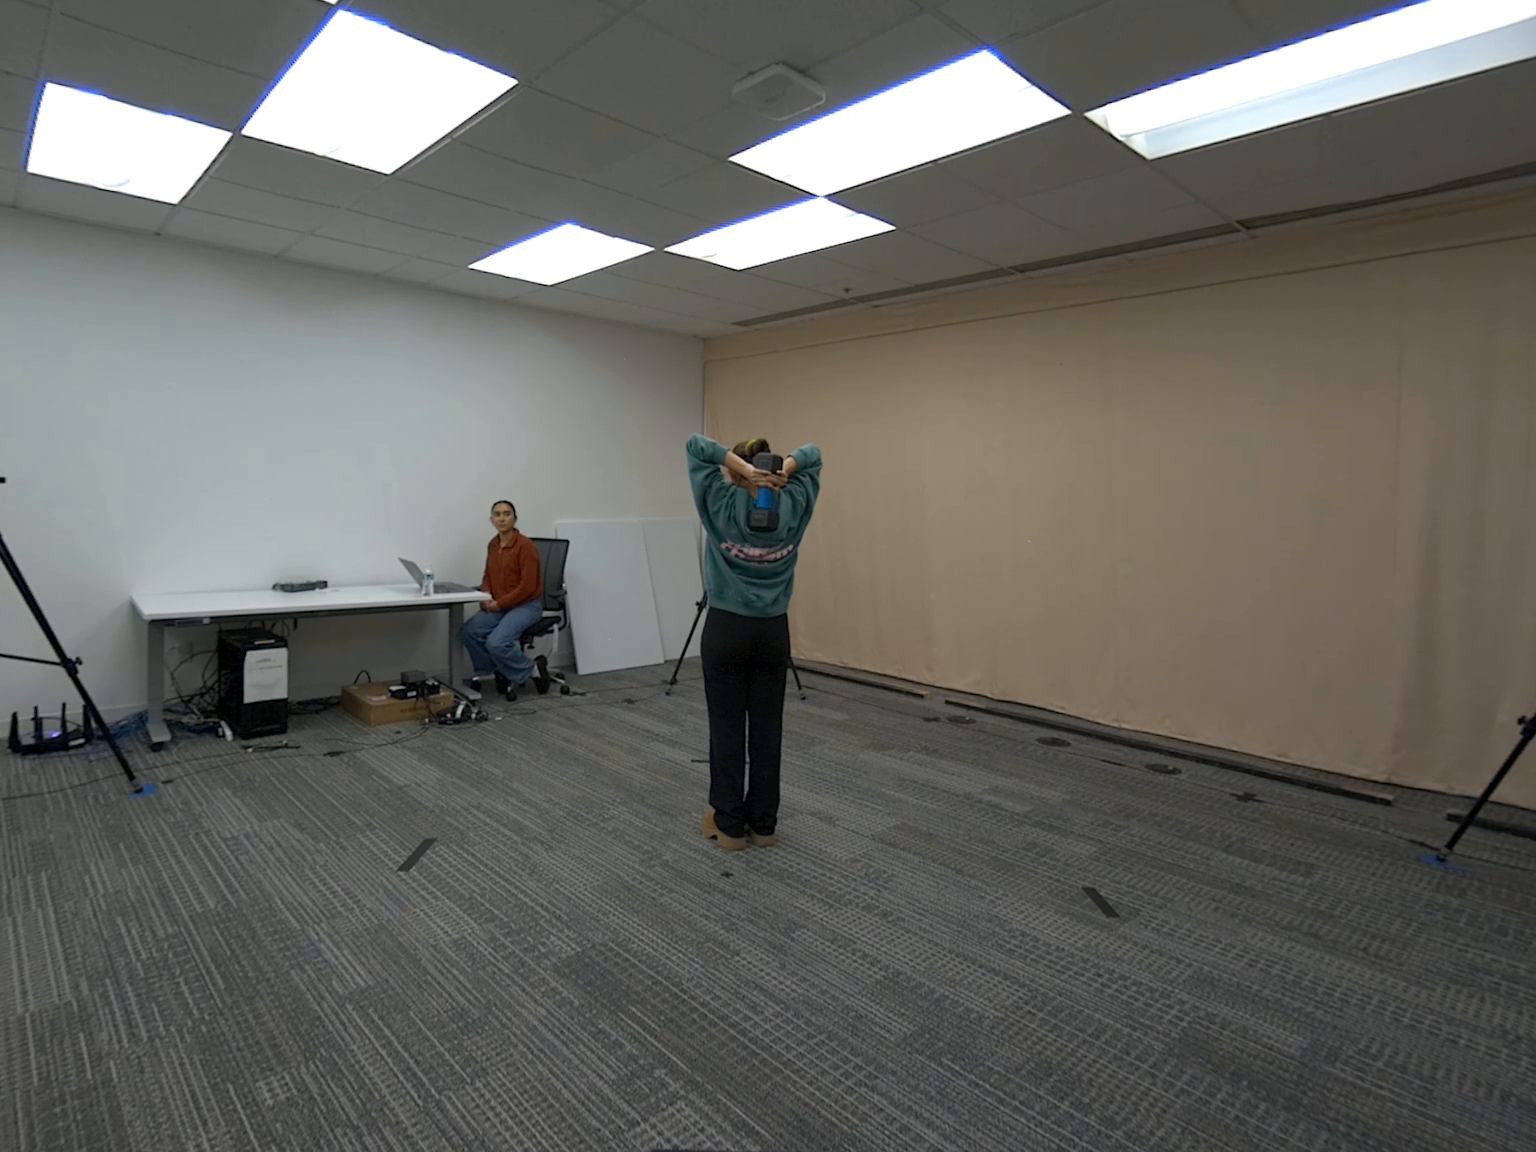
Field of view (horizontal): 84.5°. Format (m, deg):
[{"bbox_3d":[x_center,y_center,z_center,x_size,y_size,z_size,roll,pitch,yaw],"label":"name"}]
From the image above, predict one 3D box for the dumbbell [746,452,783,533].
[{"bbox_3d":[-0.014,-0.320,3.214,0.106,0.295,0.125,7,-8,-24],"label":"dumbbell"}]
